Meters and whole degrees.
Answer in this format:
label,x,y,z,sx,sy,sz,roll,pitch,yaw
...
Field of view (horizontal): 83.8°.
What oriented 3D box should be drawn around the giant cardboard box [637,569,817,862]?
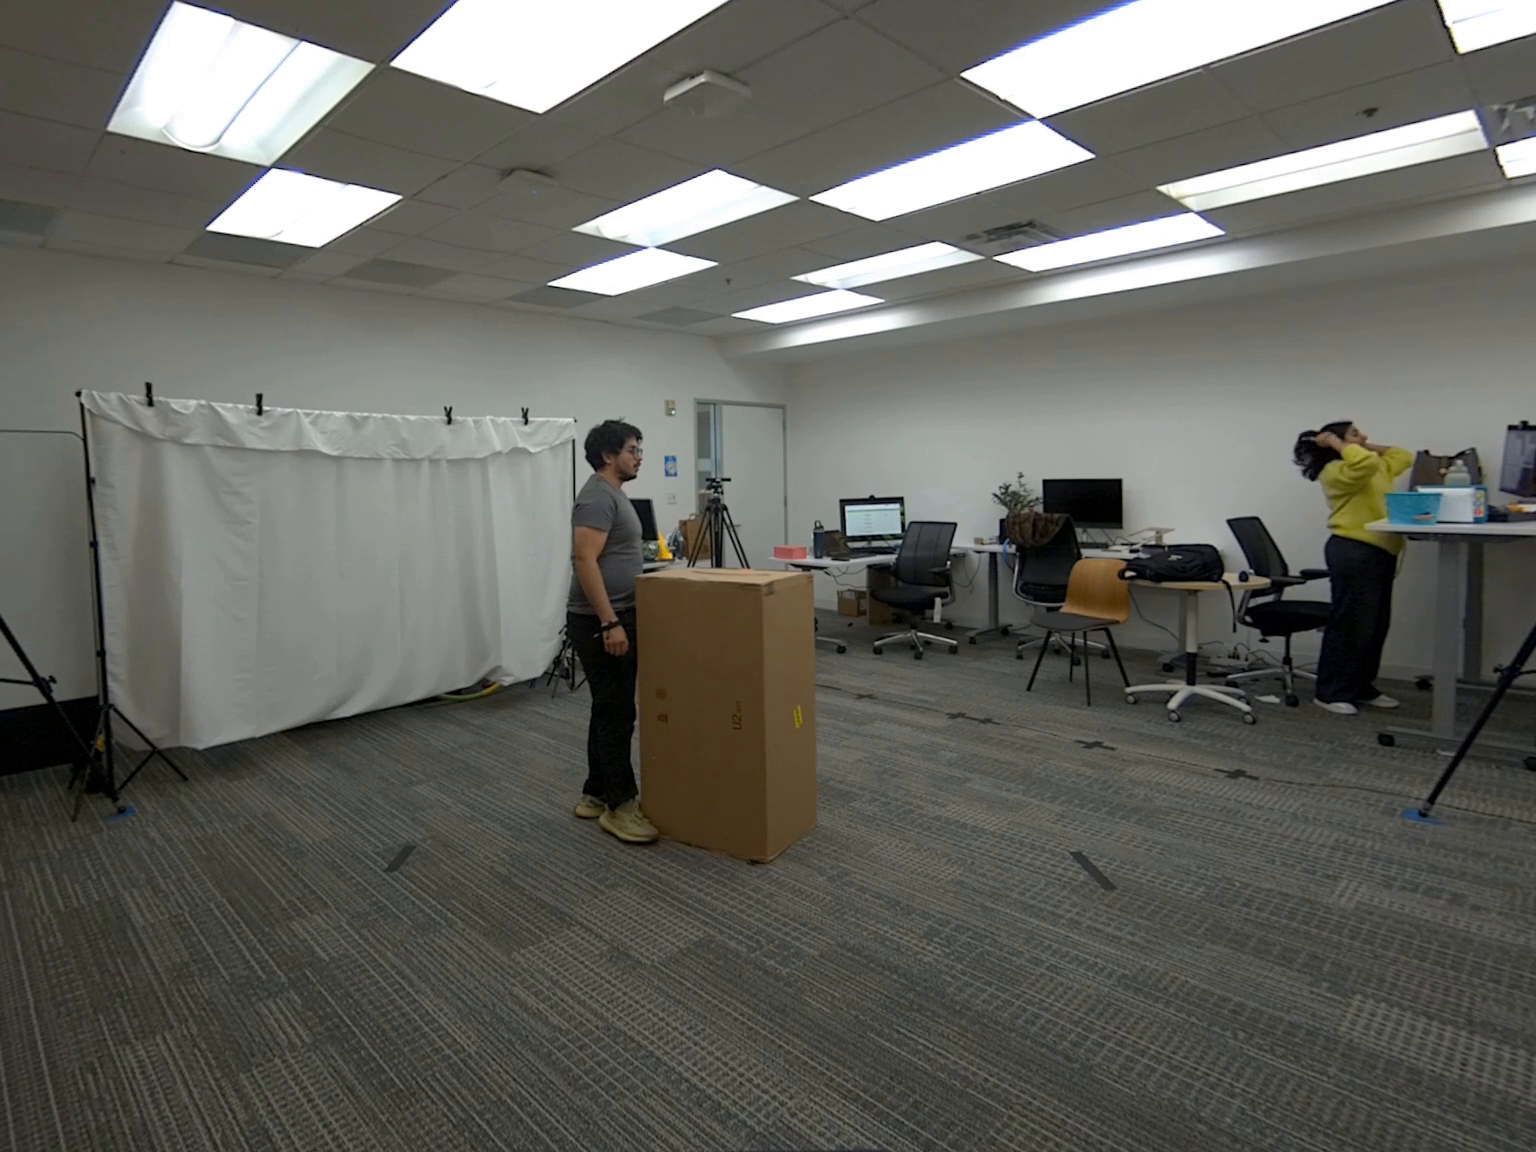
label,x,y,z,sx,sy,sz,roll,pitch,yaw
giant cardboard box,-0.154,0.508,3.386,0.599,1.023,0.437,1,5,30
